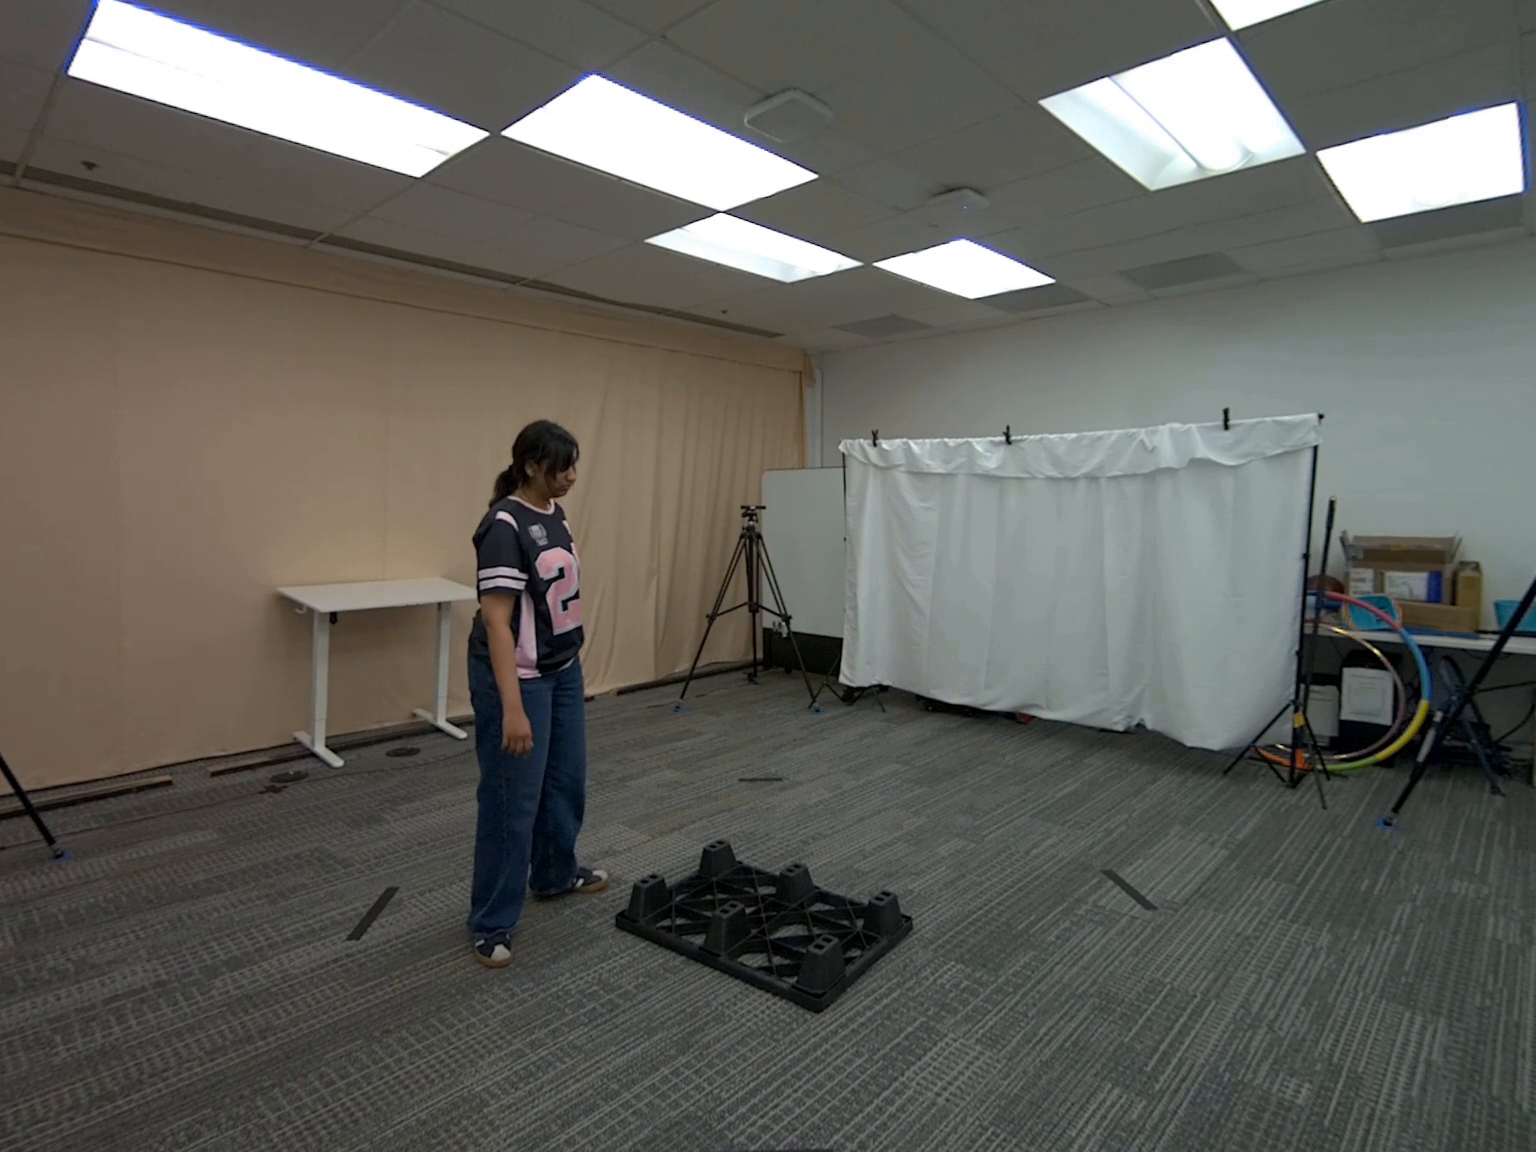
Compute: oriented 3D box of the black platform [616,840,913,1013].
[{"bbox_3d":[-0.019,1.098,2.770,0.831,0.143,0.587,3,6,36],"label":"black platform"}]
